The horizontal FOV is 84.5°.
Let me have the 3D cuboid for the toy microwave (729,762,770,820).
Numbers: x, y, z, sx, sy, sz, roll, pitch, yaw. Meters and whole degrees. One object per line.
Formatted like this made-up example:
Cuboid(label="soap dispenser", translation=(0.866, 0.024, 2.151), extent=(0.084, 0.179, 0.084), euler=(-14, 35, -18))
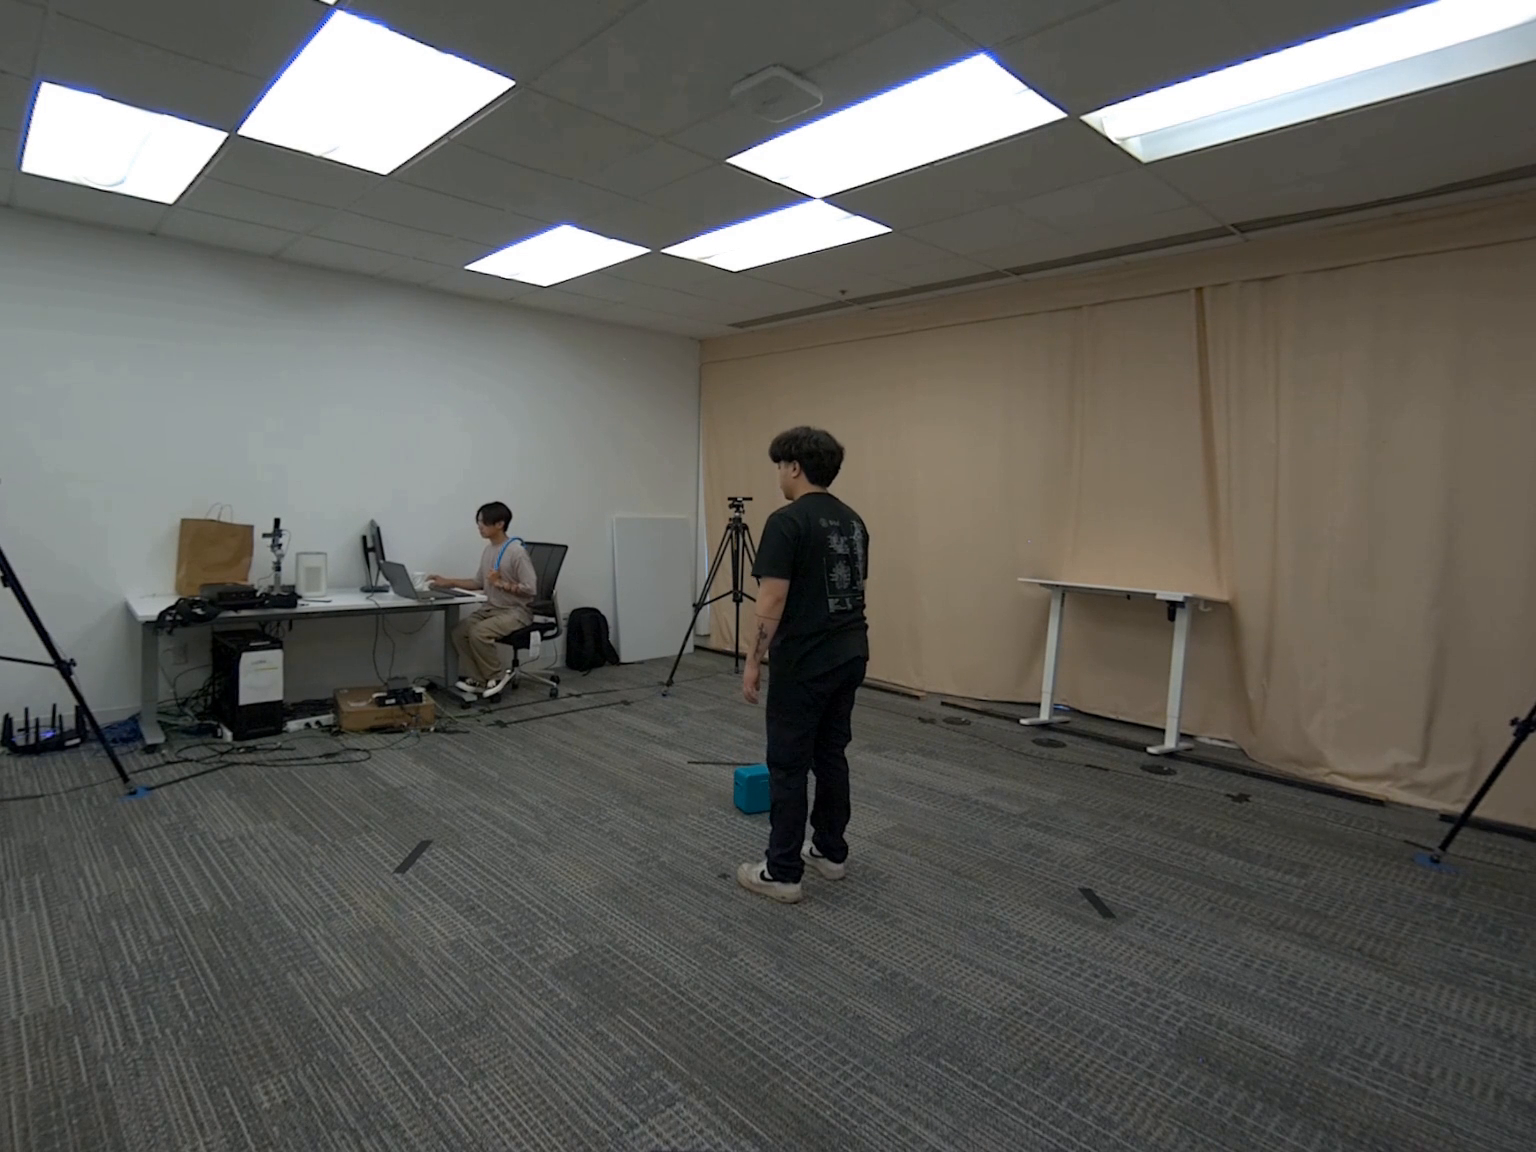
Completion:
Cuboid(label="toy microwave", translation=(-0.015, 0.962, 3.828), extent=(0.281, 0.184, 0.155), euler=(-1, 4, -27))
